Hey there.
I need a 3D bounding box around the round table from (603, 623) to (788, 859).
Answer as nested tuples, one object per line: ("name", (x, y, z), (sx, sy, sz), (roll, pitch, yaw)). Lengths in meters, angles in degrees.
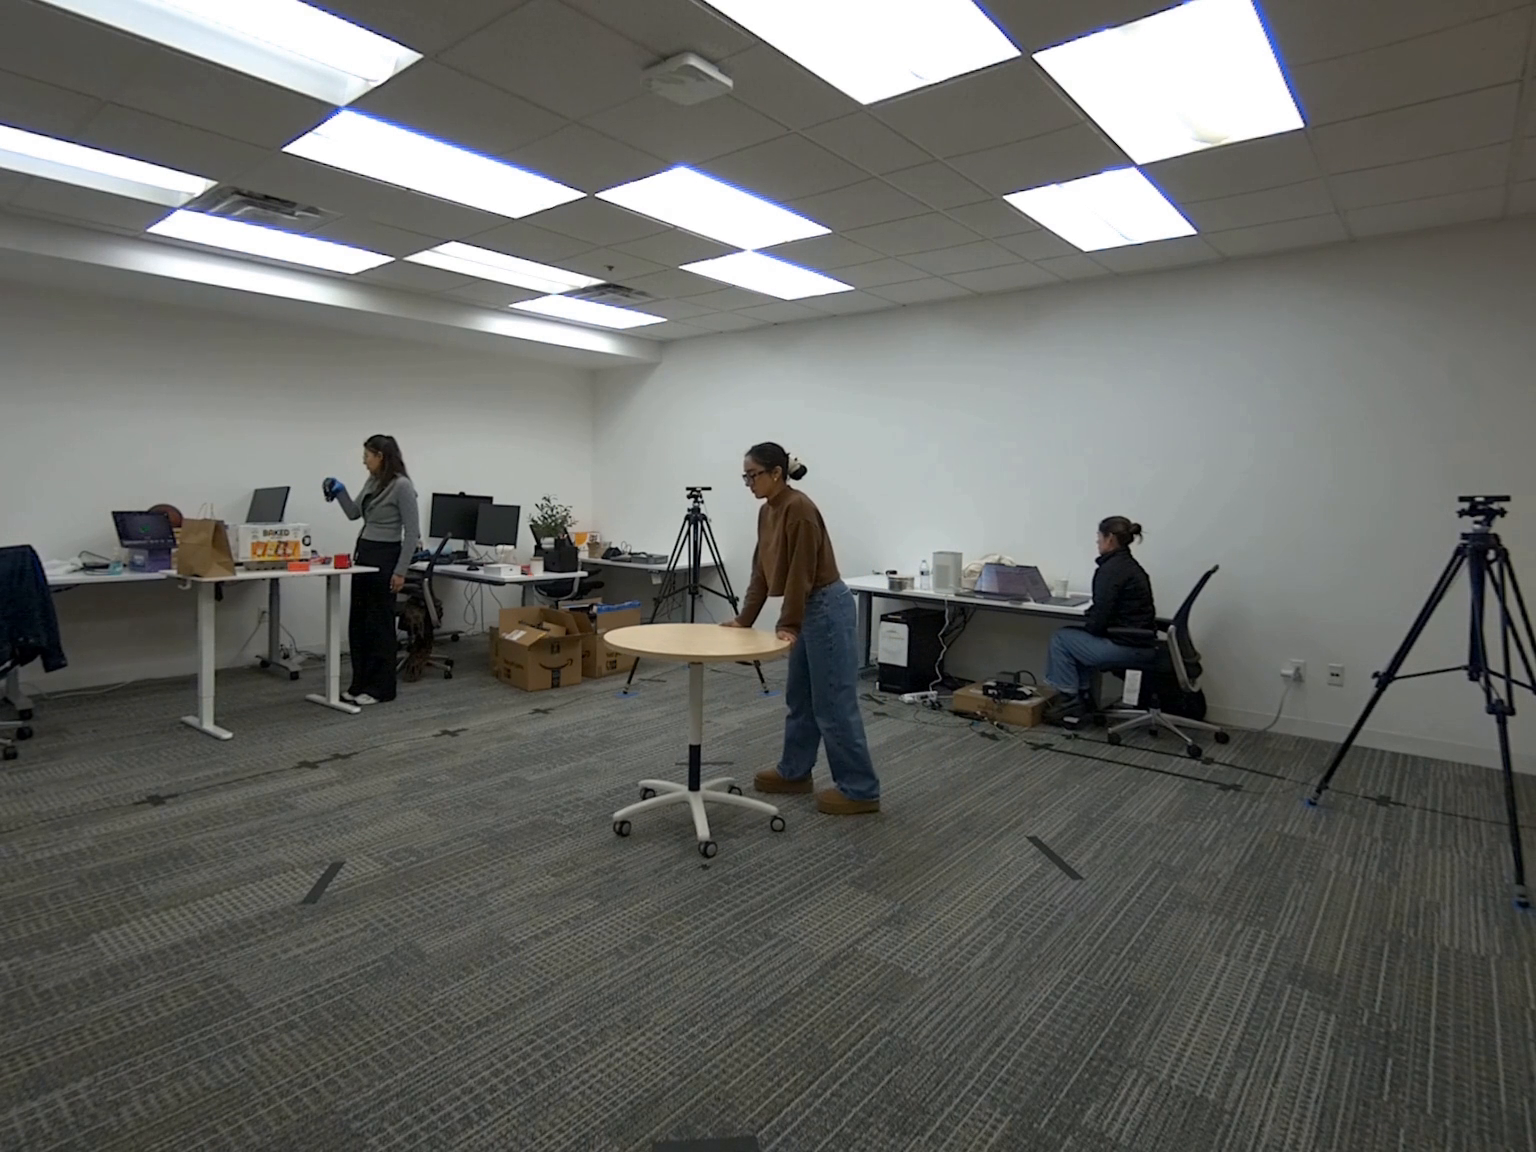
("round table", (-0.308, 0.640, 3.518), (0.763, 0.792, 0.767), (1, 4, -2))
